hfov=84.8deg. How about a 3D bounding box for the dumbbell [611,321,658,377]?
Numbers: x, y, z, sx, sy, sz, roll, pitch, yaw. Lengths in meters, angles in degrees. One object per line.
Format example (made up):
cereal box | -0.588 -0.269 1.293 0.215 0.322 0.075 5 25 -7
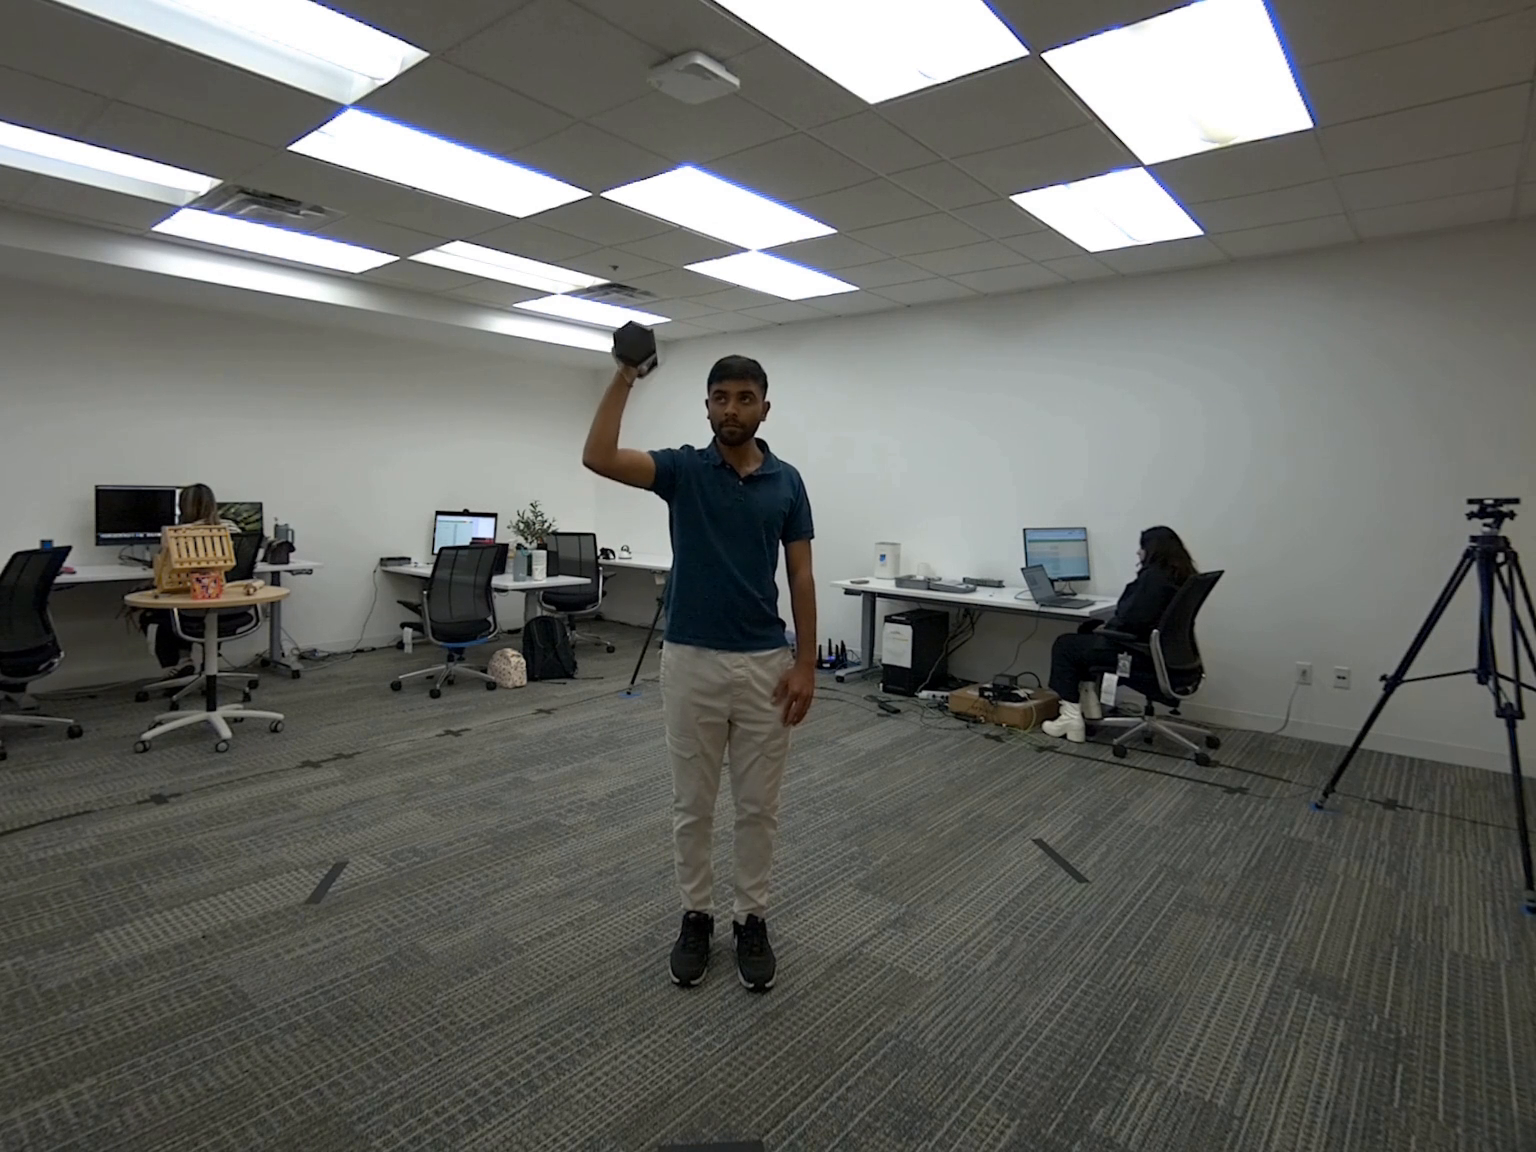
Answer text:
dumbbell | -0.368 -0.626 2.332 0.122 0.108 0.297 21 3 -9
